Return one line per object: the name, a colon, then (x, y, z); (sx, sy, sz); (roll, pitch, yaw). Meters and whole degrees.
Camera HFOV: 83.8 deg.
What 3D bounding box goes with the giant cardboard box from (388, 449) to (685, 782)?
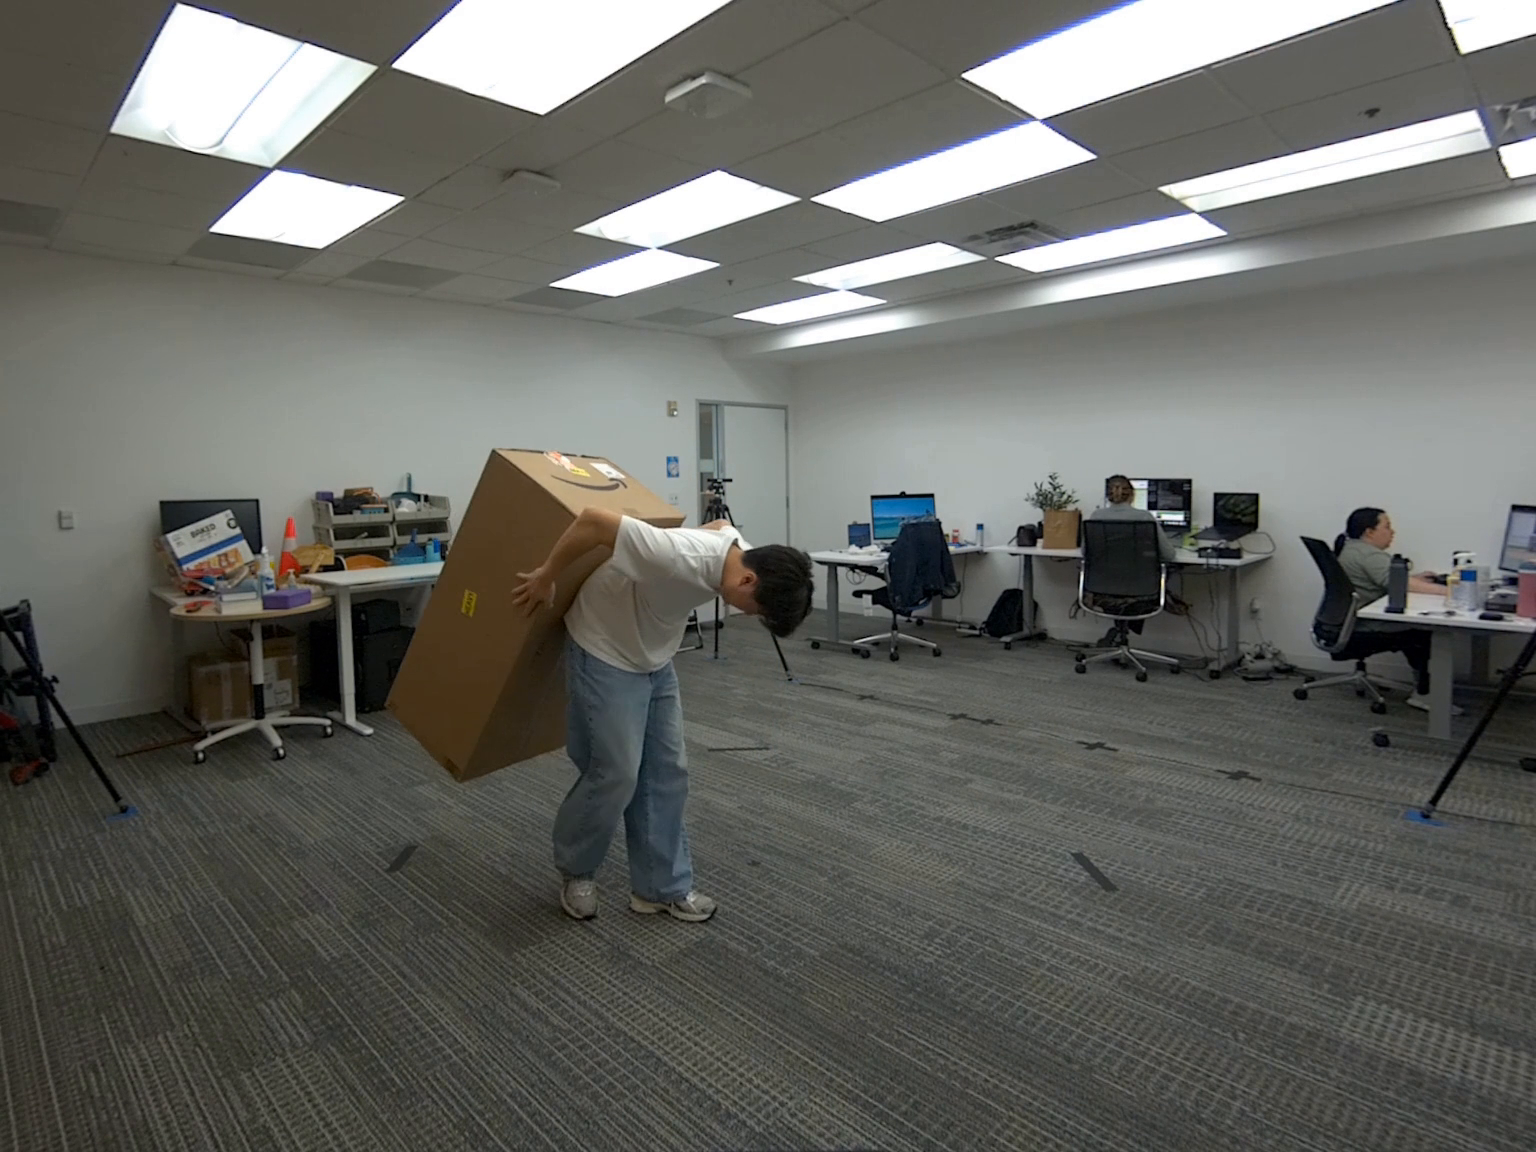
giant cardboard box: (-0.810, 0.116, 2.972); (0.438, 1.020, 0.564); (36, 19, 22)
